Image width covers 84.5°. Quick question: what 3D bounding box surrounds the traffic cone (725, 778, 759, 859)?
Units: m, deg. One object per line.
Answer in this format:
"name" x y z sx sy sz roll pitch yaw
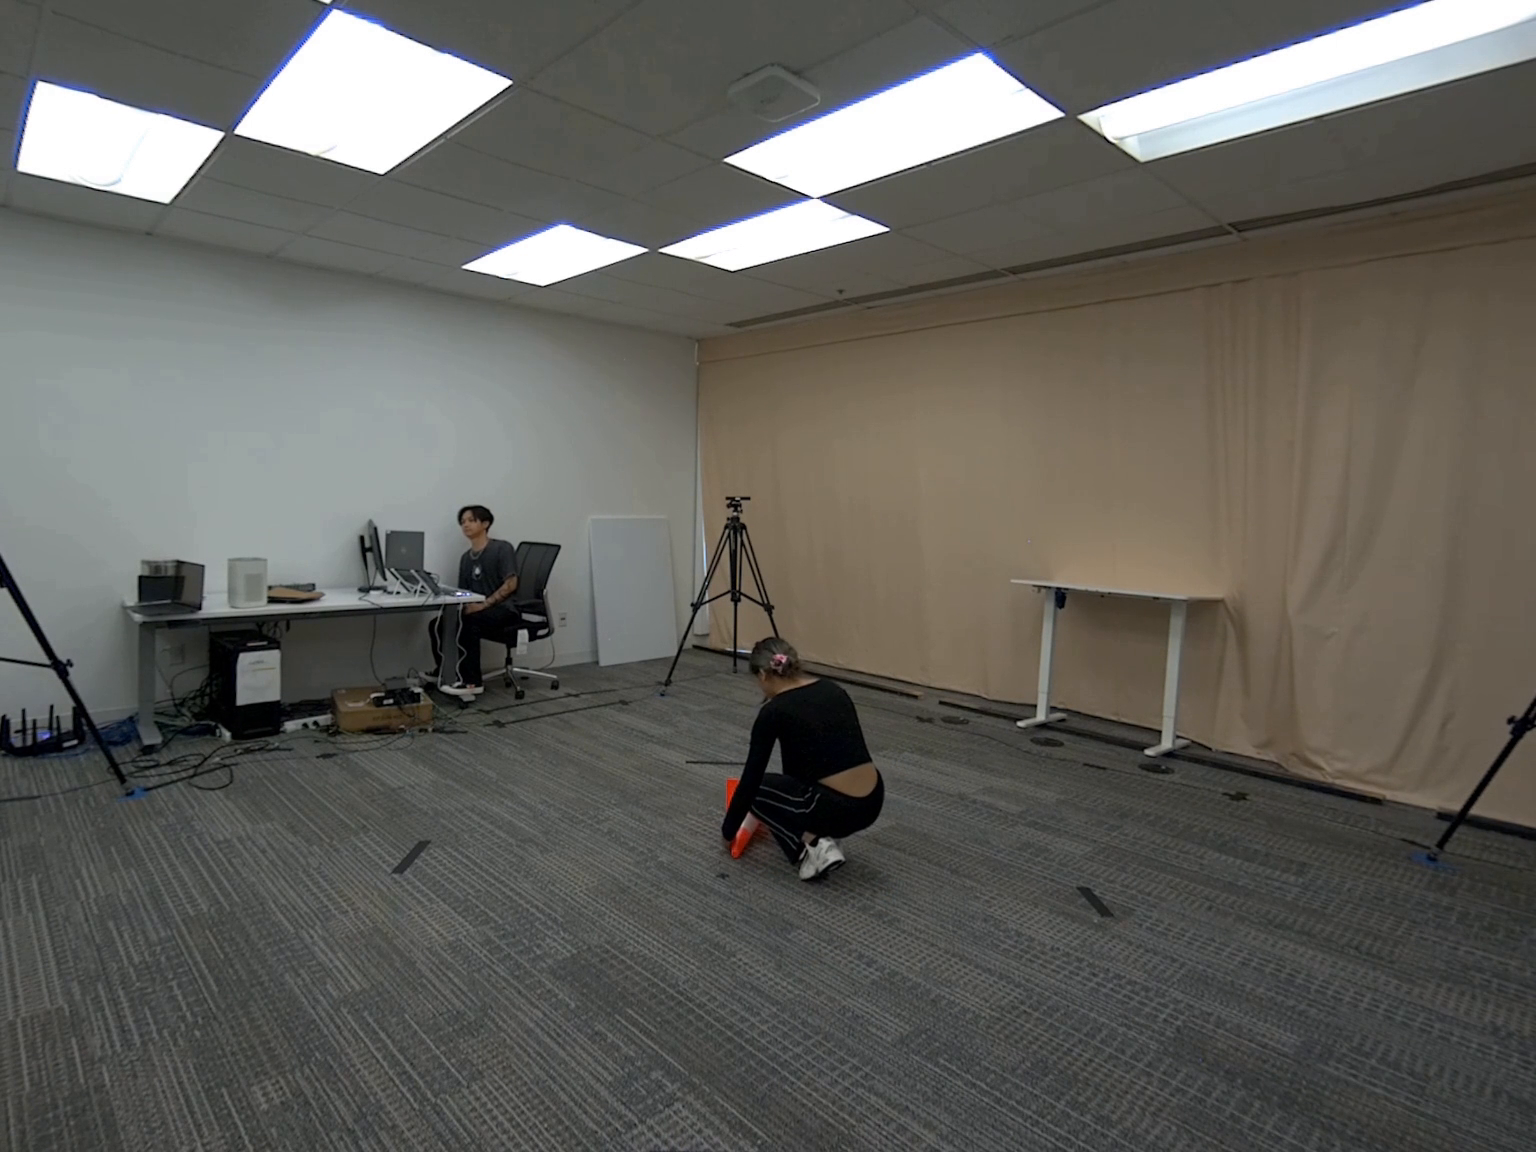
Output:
"traffic cone" -0.097 1.014 3.421 0.205 0.201 0.386 6 16 2
